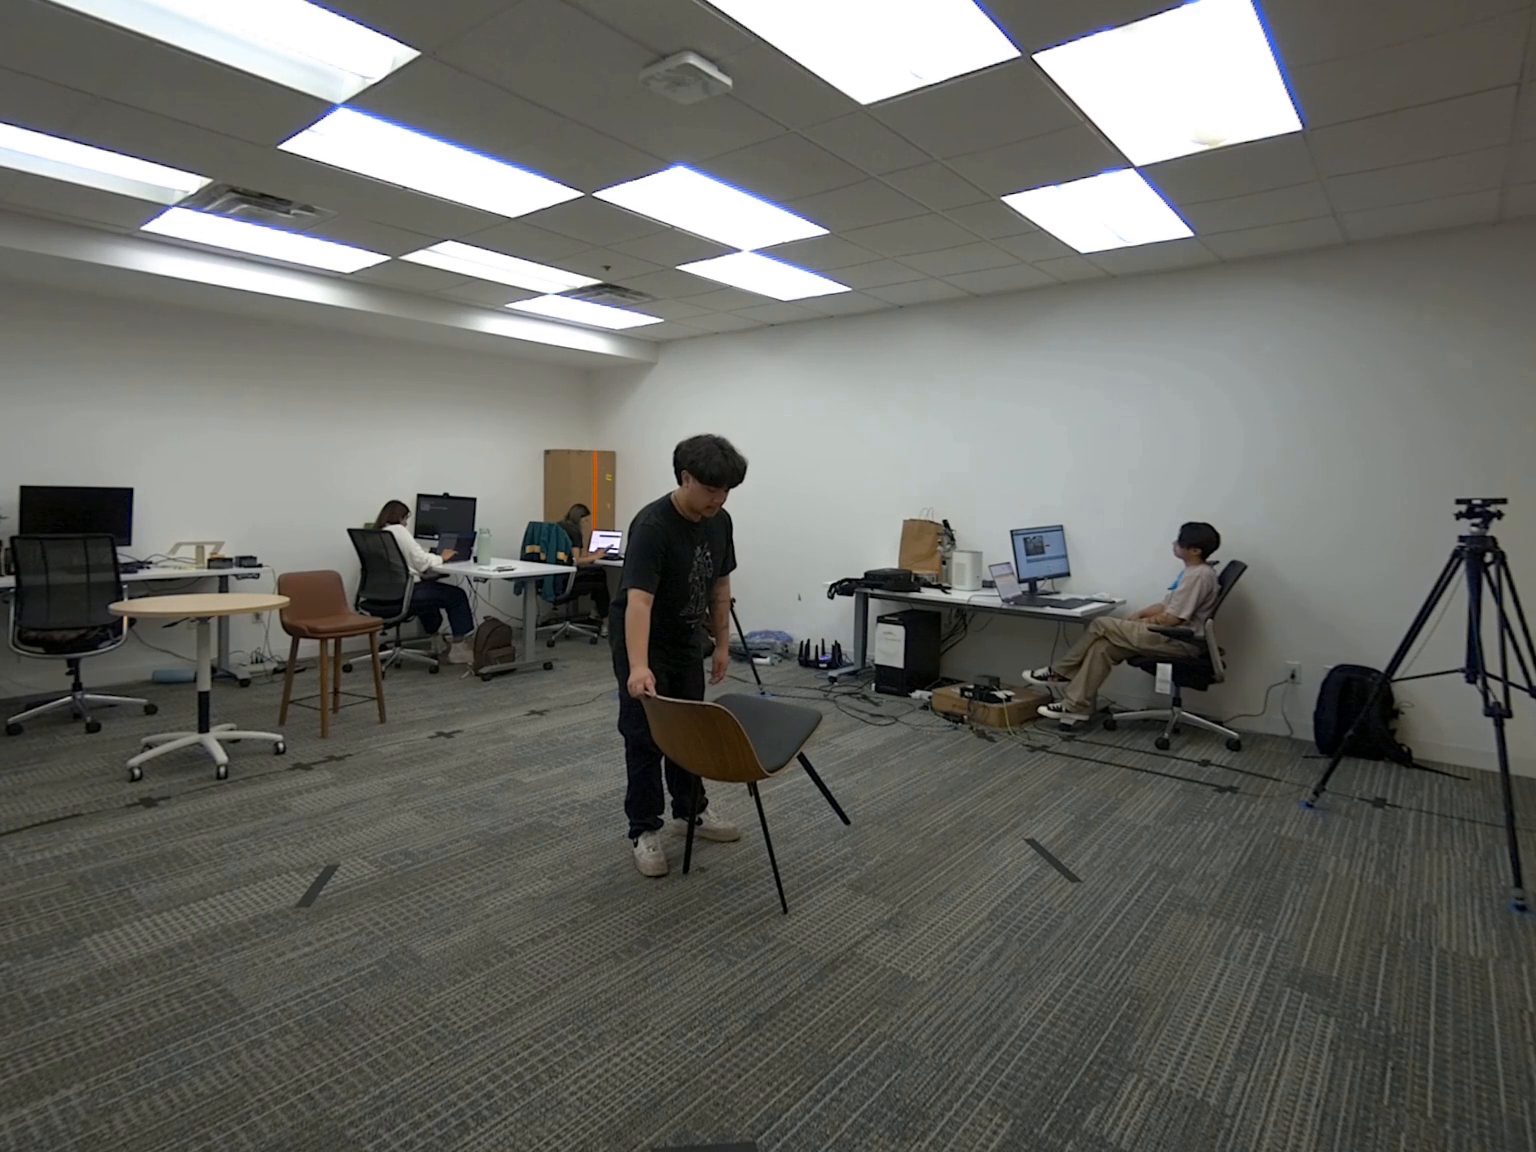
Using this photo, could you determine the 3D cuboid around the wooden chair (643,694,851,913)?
[{"bbox_3d":[-0.090,0.605,2.938,0.494,0.853,0.521,3,32,37],"label":"wooden chair"}]
